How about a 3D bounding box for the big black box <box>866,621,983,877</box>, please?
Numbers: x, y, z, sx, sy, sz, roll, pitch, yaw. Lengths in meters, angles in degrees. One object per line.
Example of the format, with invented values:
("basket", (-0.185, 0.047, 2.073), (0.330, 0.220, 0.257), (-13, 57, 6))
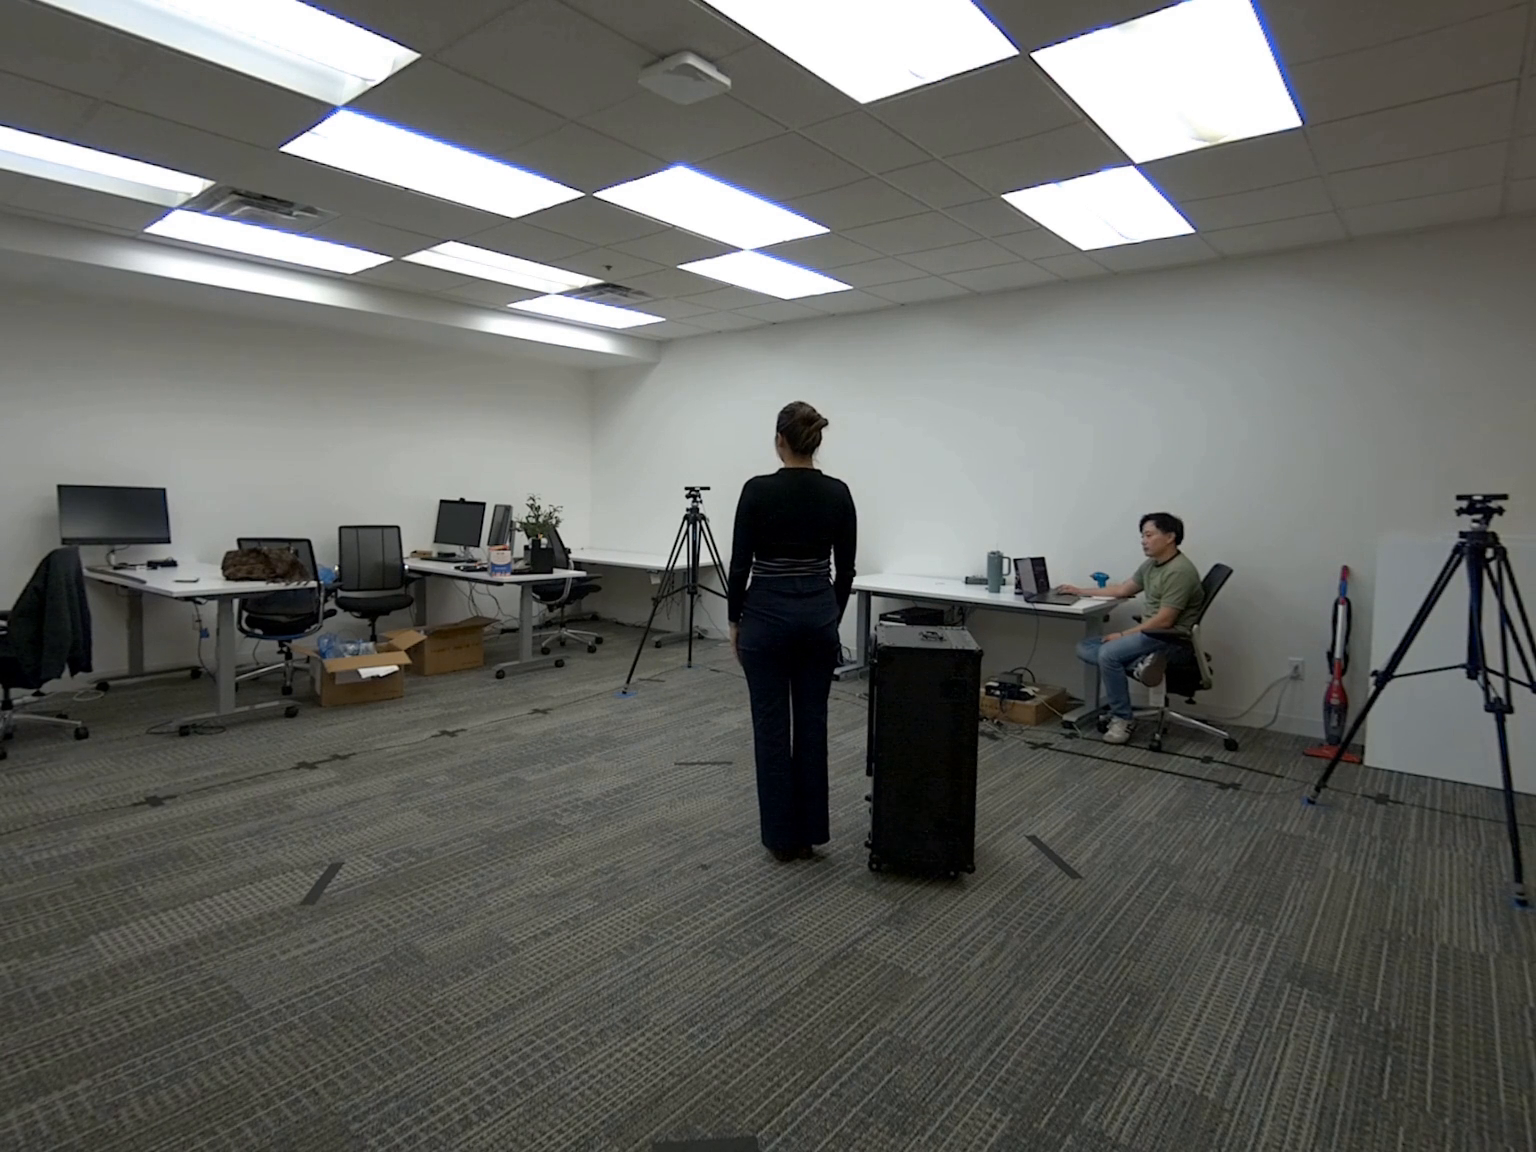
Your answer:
("big black box", (0.561, 0.648, 3.197), (0.400, 0.859, 0.518), (0, 3, 8))
